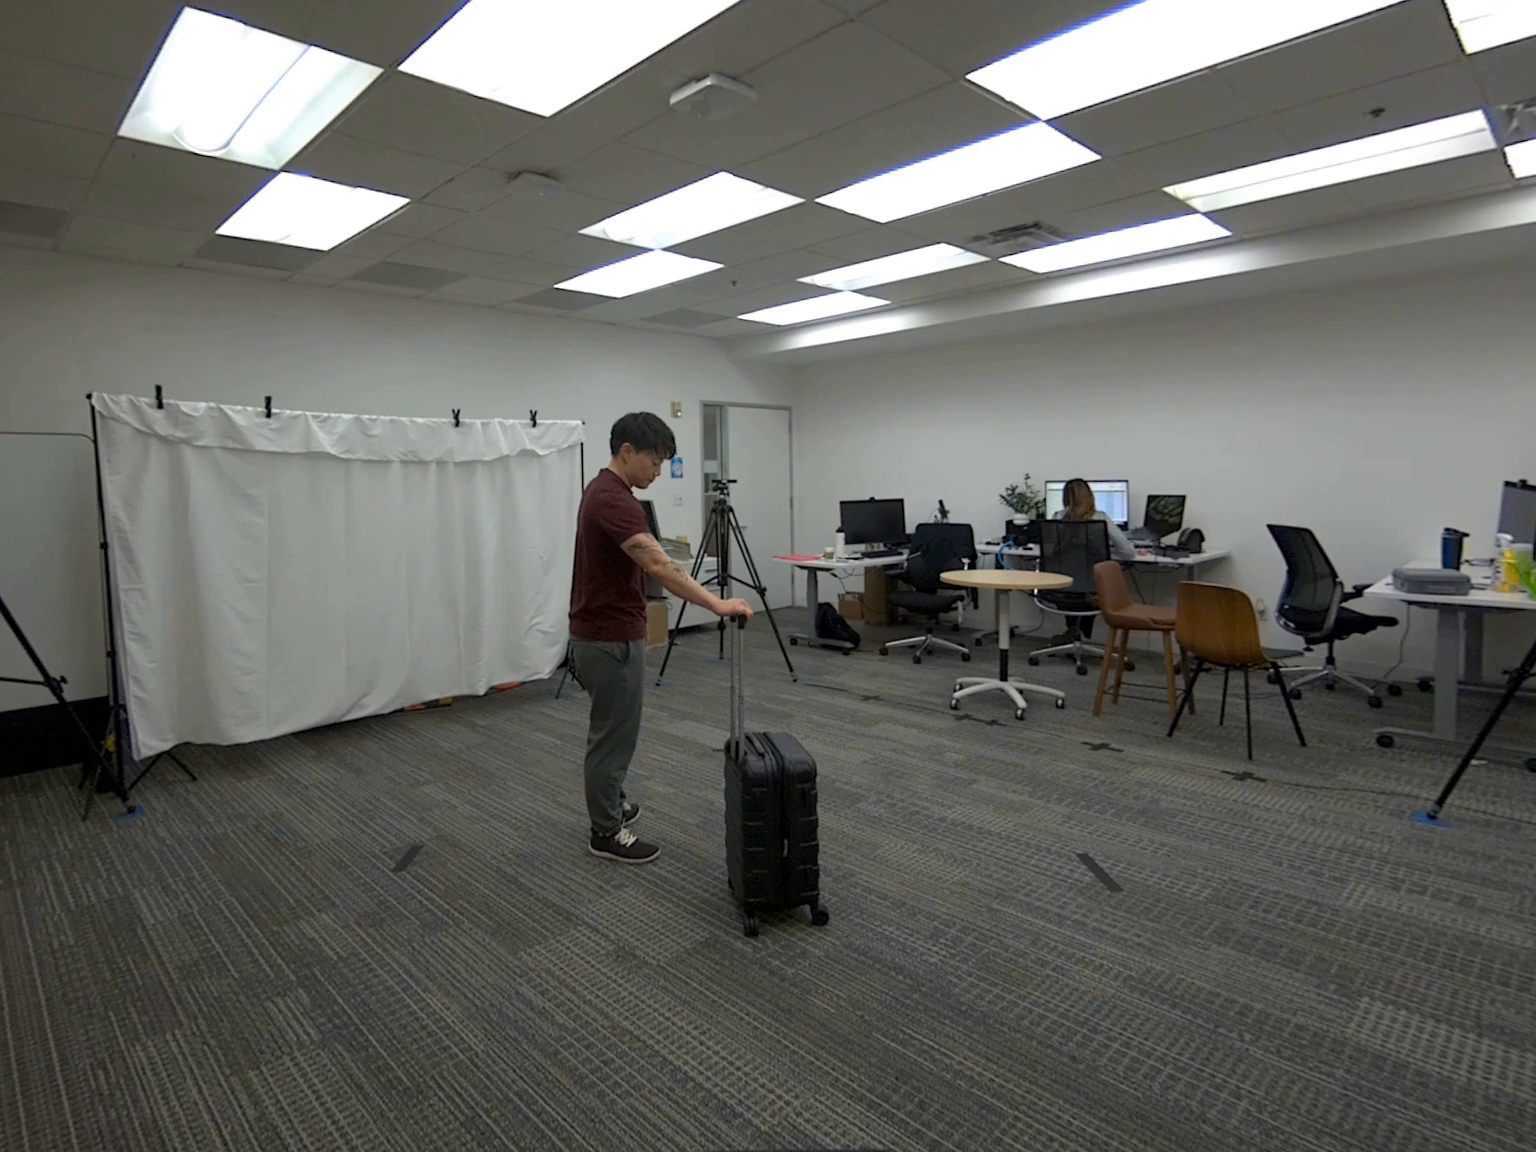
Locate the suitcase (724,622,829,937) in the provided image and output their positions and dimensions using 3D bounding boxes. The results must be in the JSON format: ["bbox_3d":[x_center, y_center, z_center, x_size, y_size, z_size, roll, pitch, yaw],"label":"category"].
[{"bbox_3d":[0.008,0.603,2.781,0.254,0.975,0.389,1,4,-12],"label":"suitcase"}]
